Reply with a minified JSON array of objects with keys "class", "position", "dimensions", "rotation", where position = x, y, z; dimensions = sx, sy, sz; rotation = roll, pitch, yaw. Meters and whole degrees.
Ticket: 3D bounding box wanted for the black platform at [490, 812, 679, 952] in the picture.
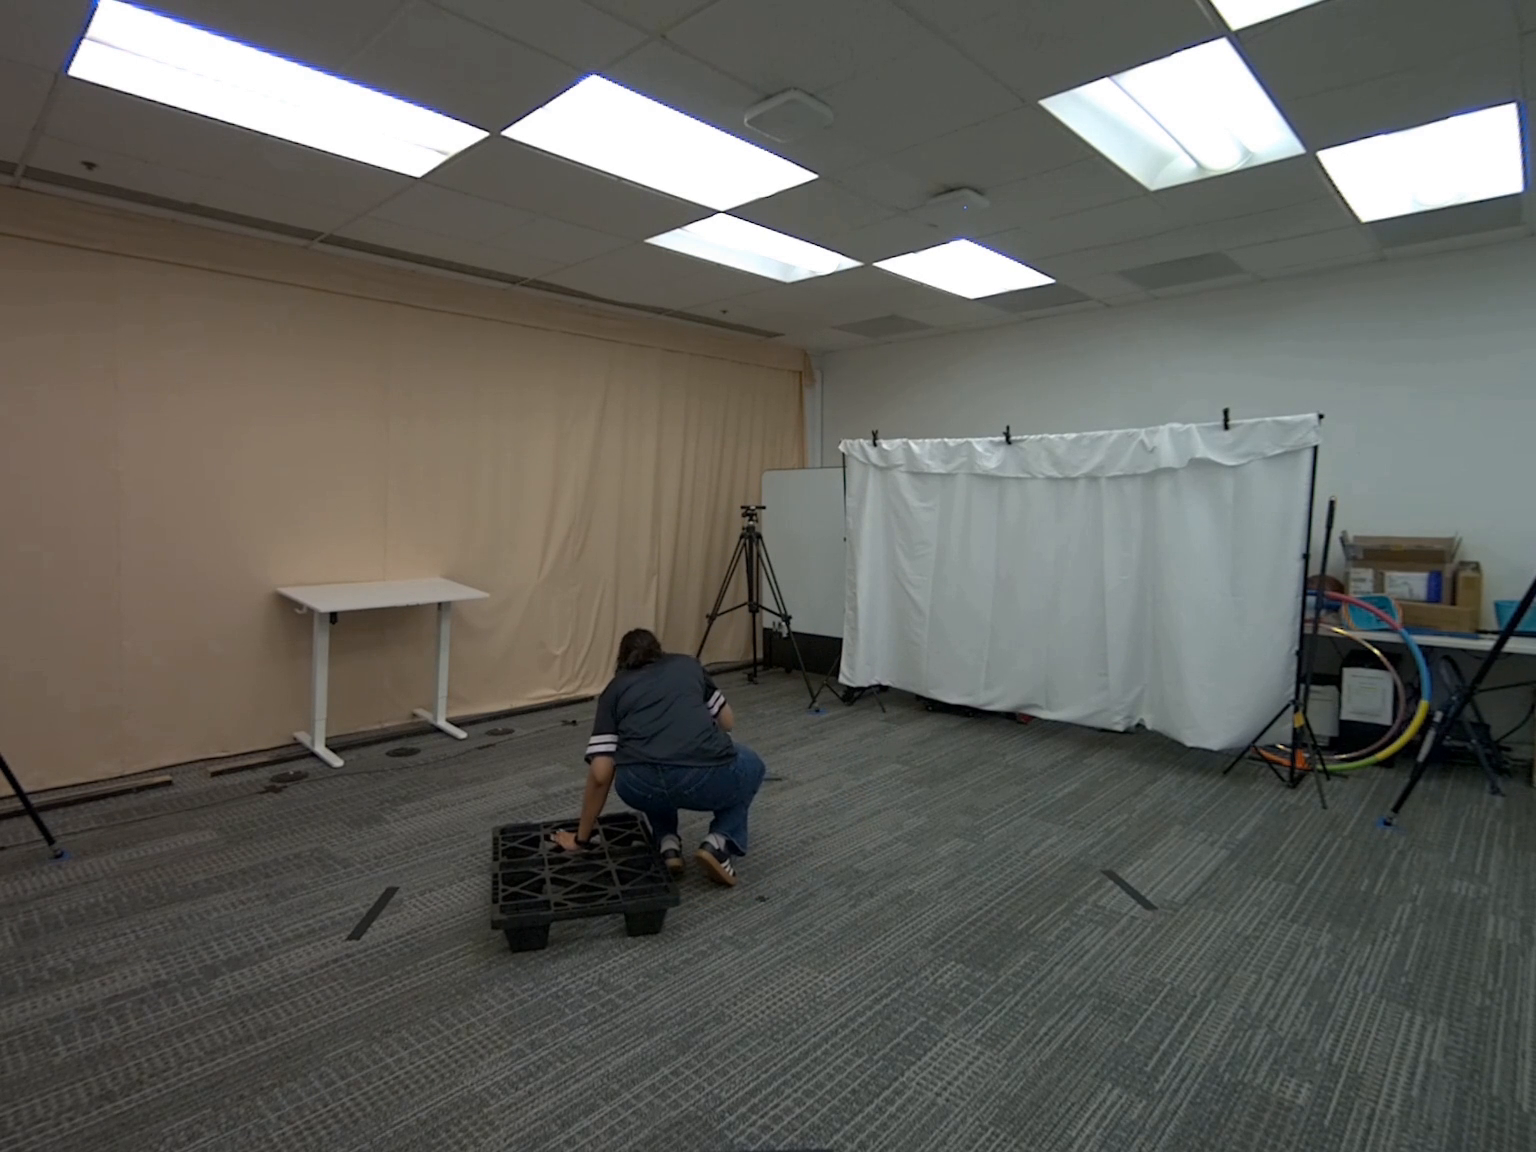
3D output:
[{"class":"black platform","position":[-0.687,1.077,3.037],"dimensions":[0.596,0.143,0.820],"rotation":[-1,5,-16]}]
